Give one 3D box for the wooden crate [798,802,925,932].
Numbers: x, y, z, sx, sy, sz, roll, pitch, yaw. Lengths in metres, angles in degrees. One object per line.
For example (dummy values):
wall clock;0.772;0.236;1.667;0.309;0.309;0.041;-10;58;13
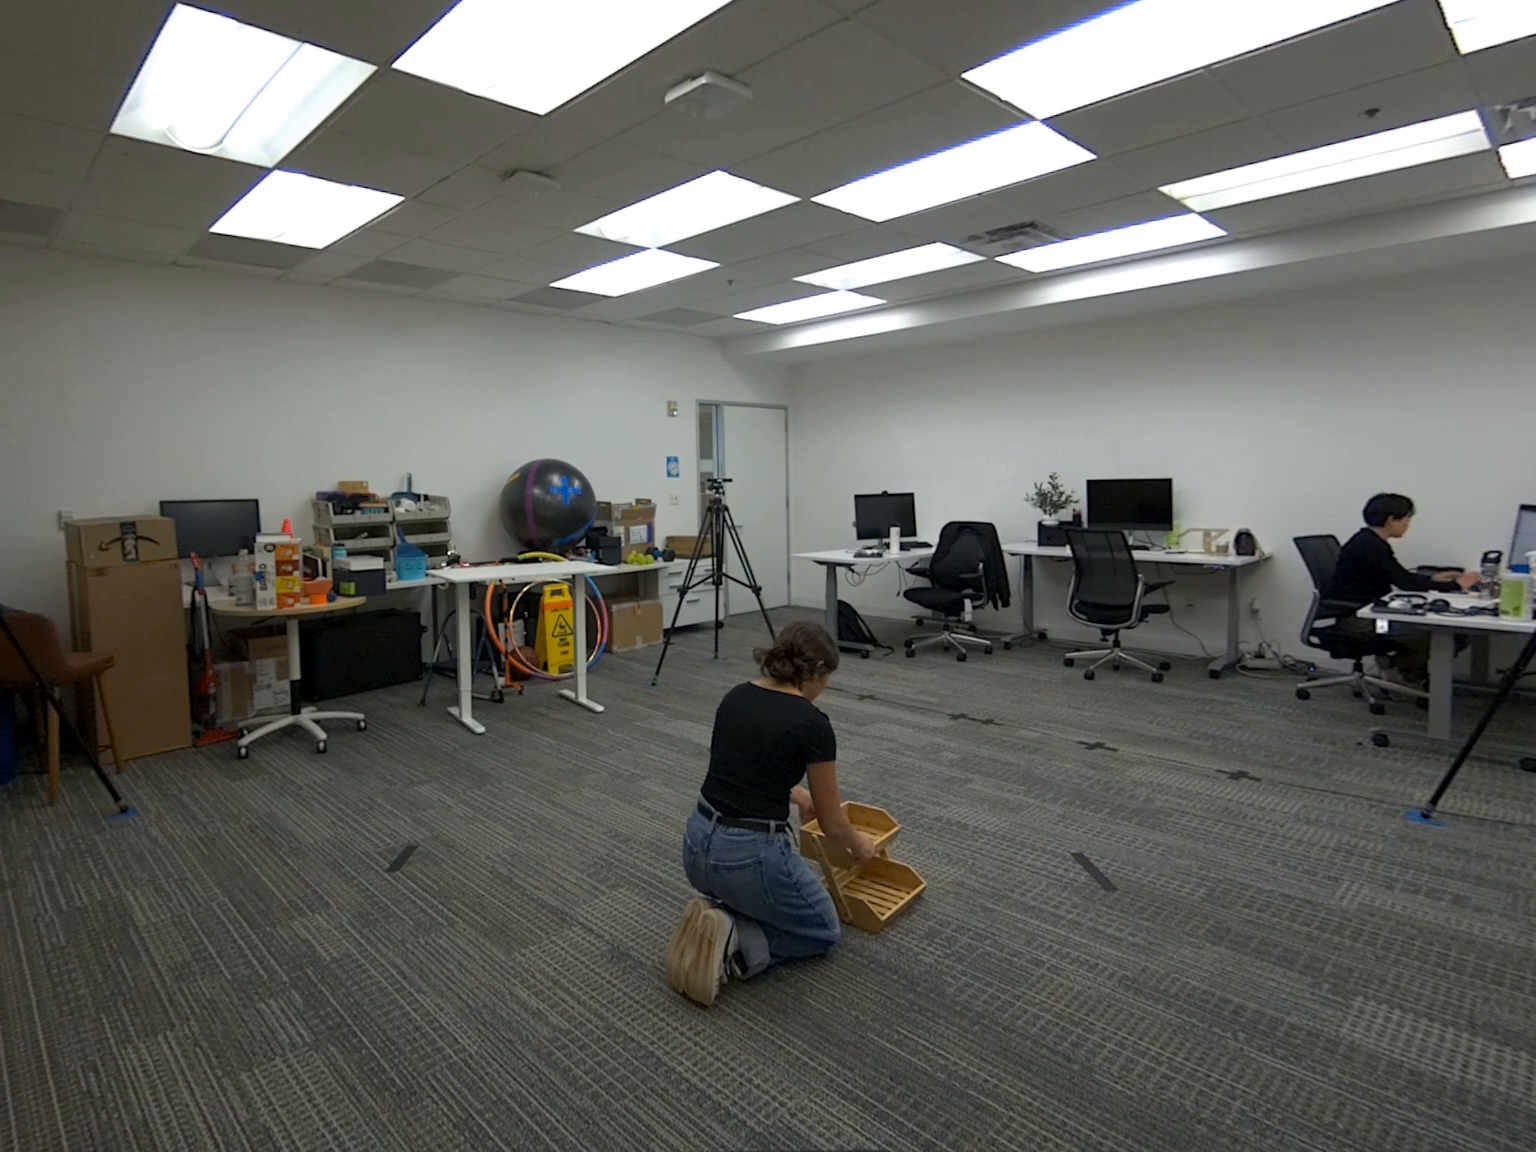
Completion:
wooden crate;0.321;0.939;2.806;0.311;0.272;0.316;1;6;37
